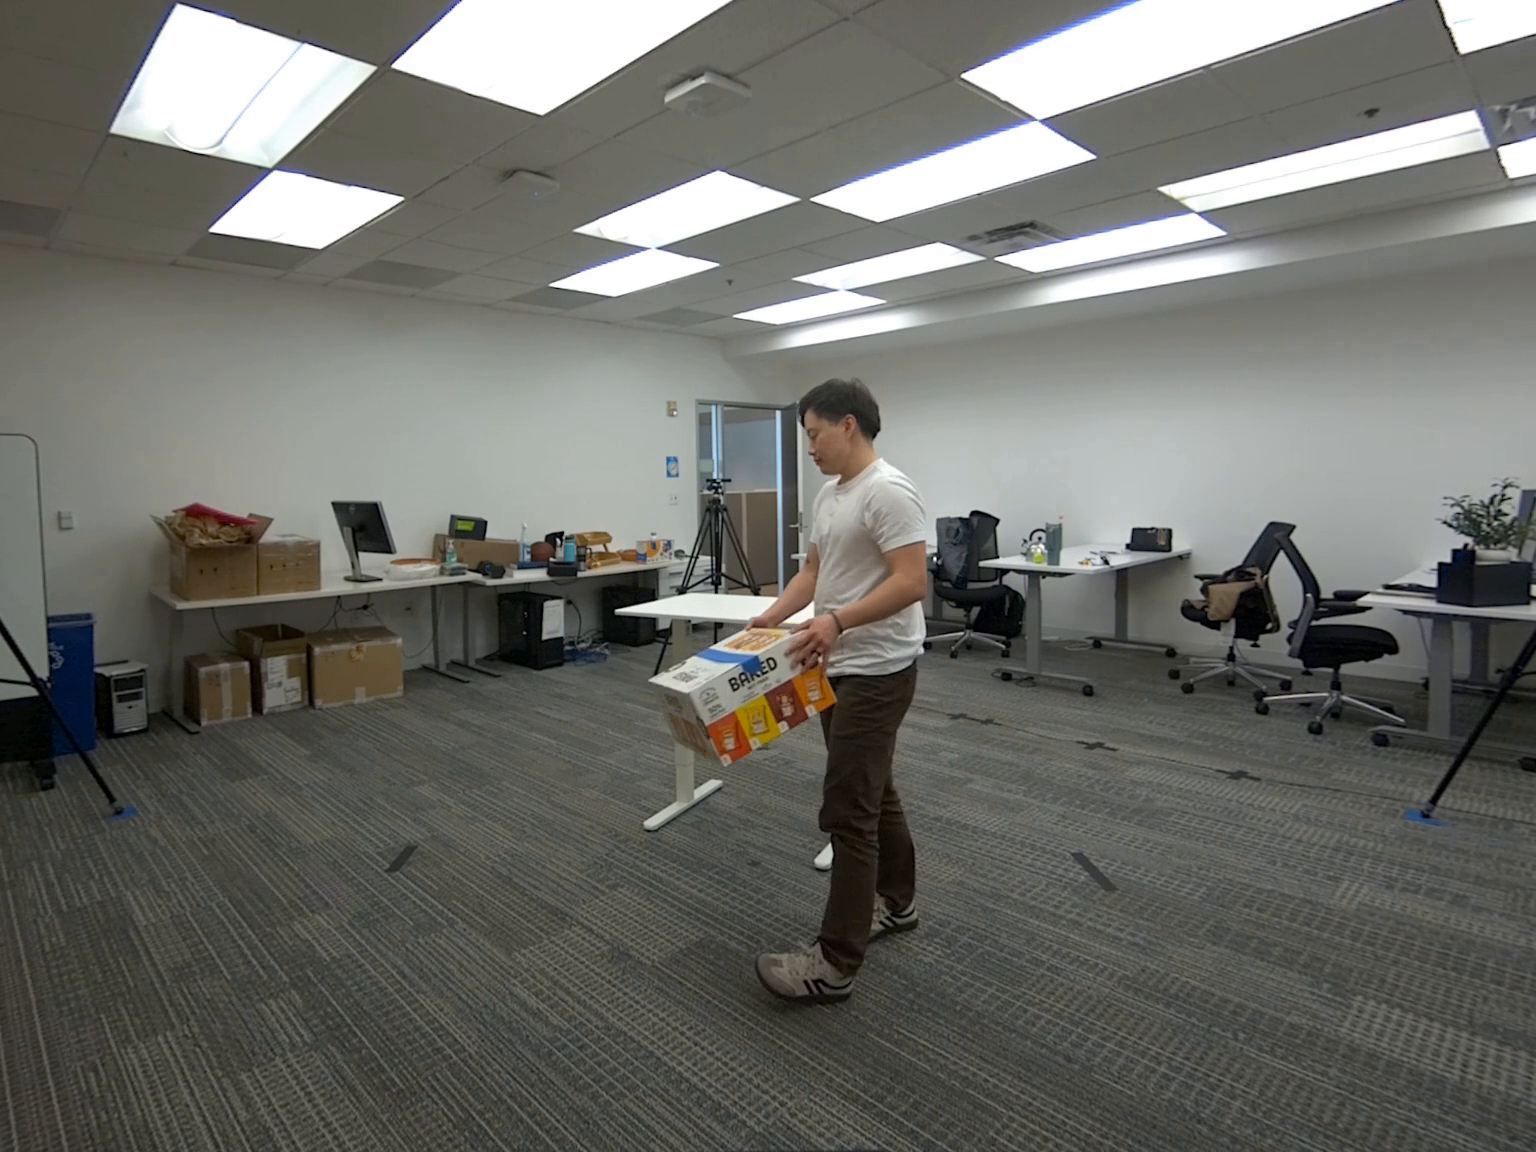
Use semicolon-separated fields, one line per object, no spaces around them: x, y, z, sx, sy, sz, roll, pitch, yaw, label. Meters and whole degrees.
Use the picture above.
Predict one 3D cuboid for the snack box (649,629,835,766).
-0.081;0.311;2.281;0.337;0.204;0.411;-25;6;-20;snack box
